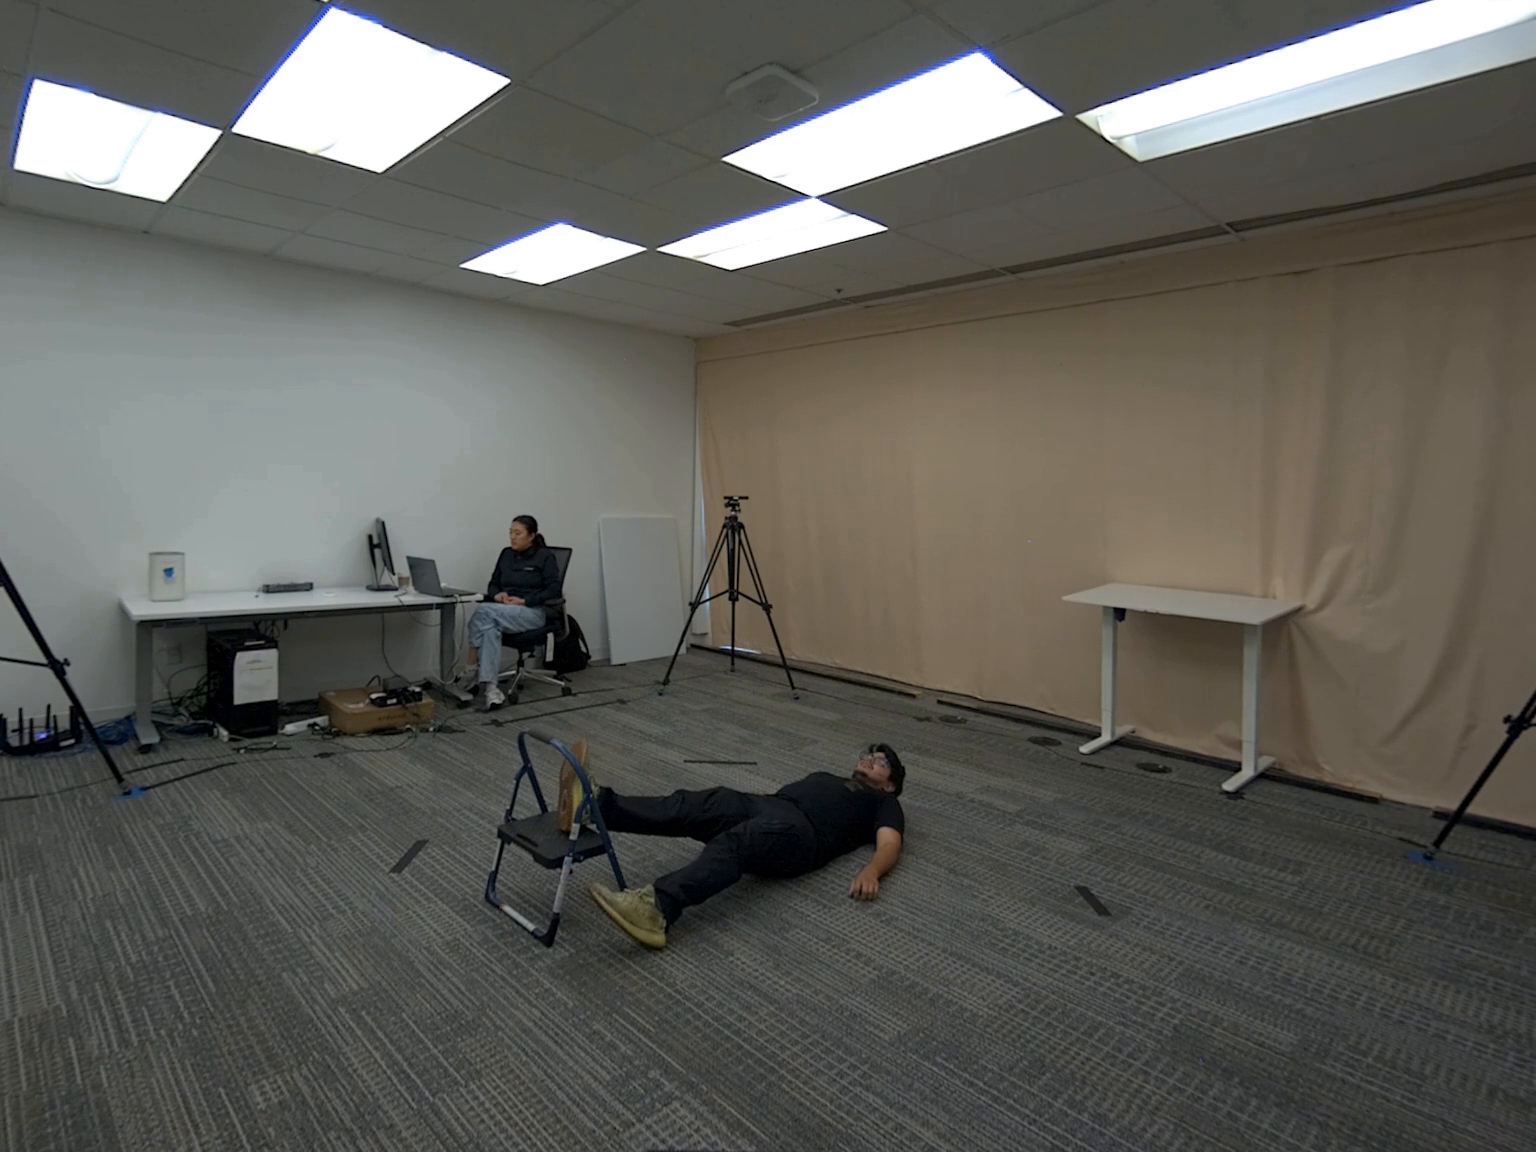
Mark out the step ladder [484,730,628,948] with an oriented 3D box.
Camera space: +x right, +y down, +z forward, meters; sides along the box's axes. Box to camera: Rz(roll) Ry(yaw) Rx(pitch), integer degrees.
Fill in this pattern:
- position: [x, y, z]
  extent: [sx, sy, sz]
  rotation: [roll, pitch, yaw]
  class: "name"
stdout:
- position: [-0.703, 0.816, 2.823]
  extent: [0.441, 0.604, 0.341]
  rotation: [4, 5, 45]
  class: "step ladder"
